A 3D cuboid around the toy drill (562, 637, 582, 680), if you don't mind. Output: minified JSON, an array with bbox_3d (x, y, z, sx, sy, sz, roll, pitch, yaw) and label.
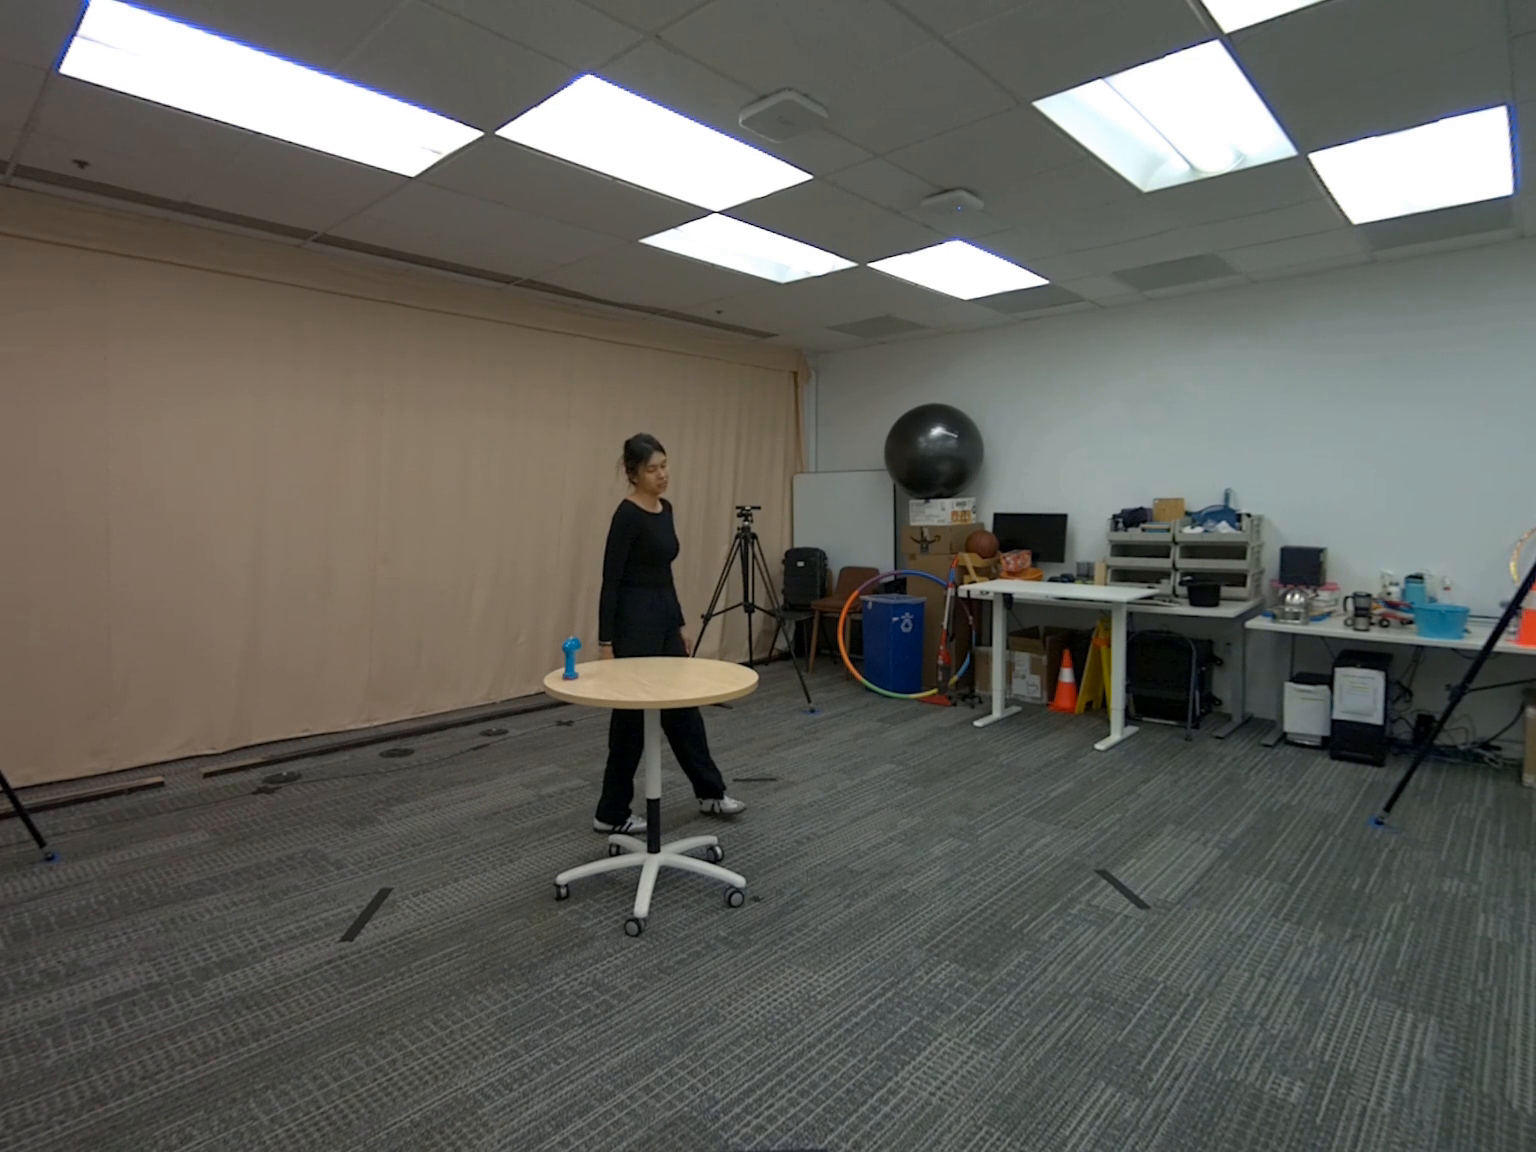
[{"bbox_3d":[-0.716,0.290,3.028,0.061,0.146,0.170,0,4,0],"label":"toy drill"}]
